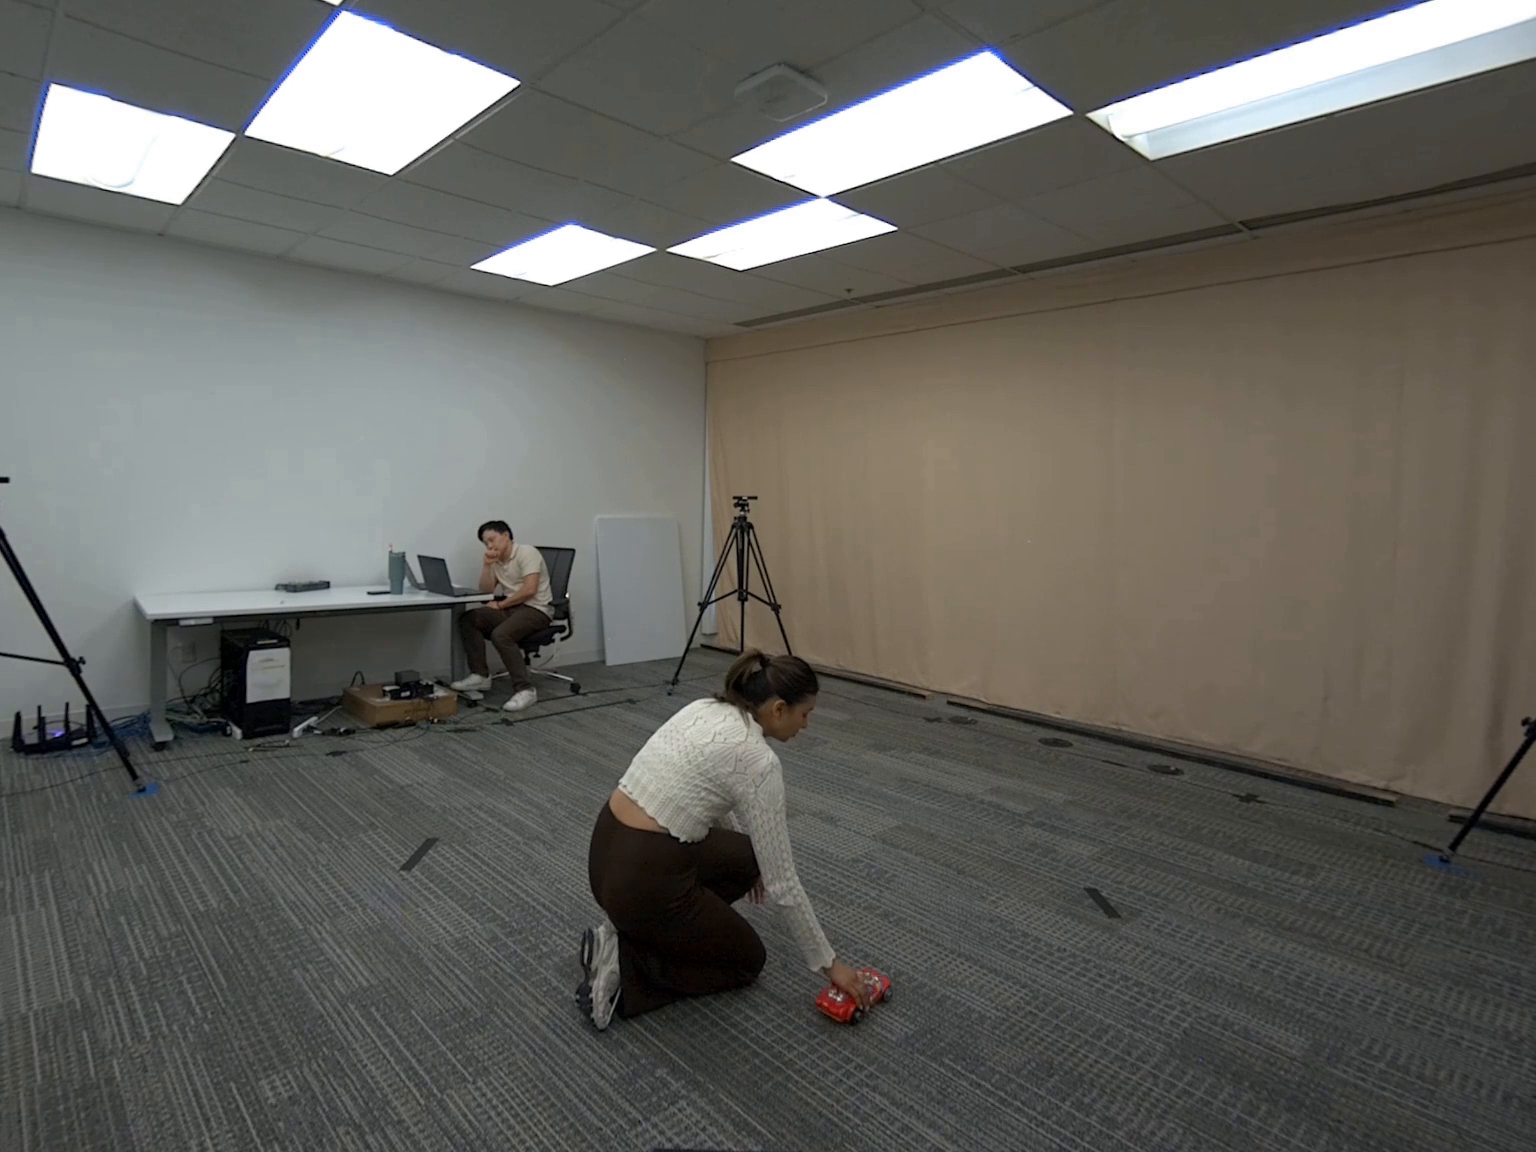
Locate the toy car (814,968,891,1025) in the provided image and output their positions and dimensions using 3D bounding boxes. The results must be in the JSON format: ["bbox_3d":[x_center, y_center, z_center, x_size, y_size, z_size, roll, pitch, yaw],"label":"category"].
[{"bbox_3d":[0.224,1.157,2.305,0.134,0.083,0.247,8,-2,44],"label":"toy car"}]
